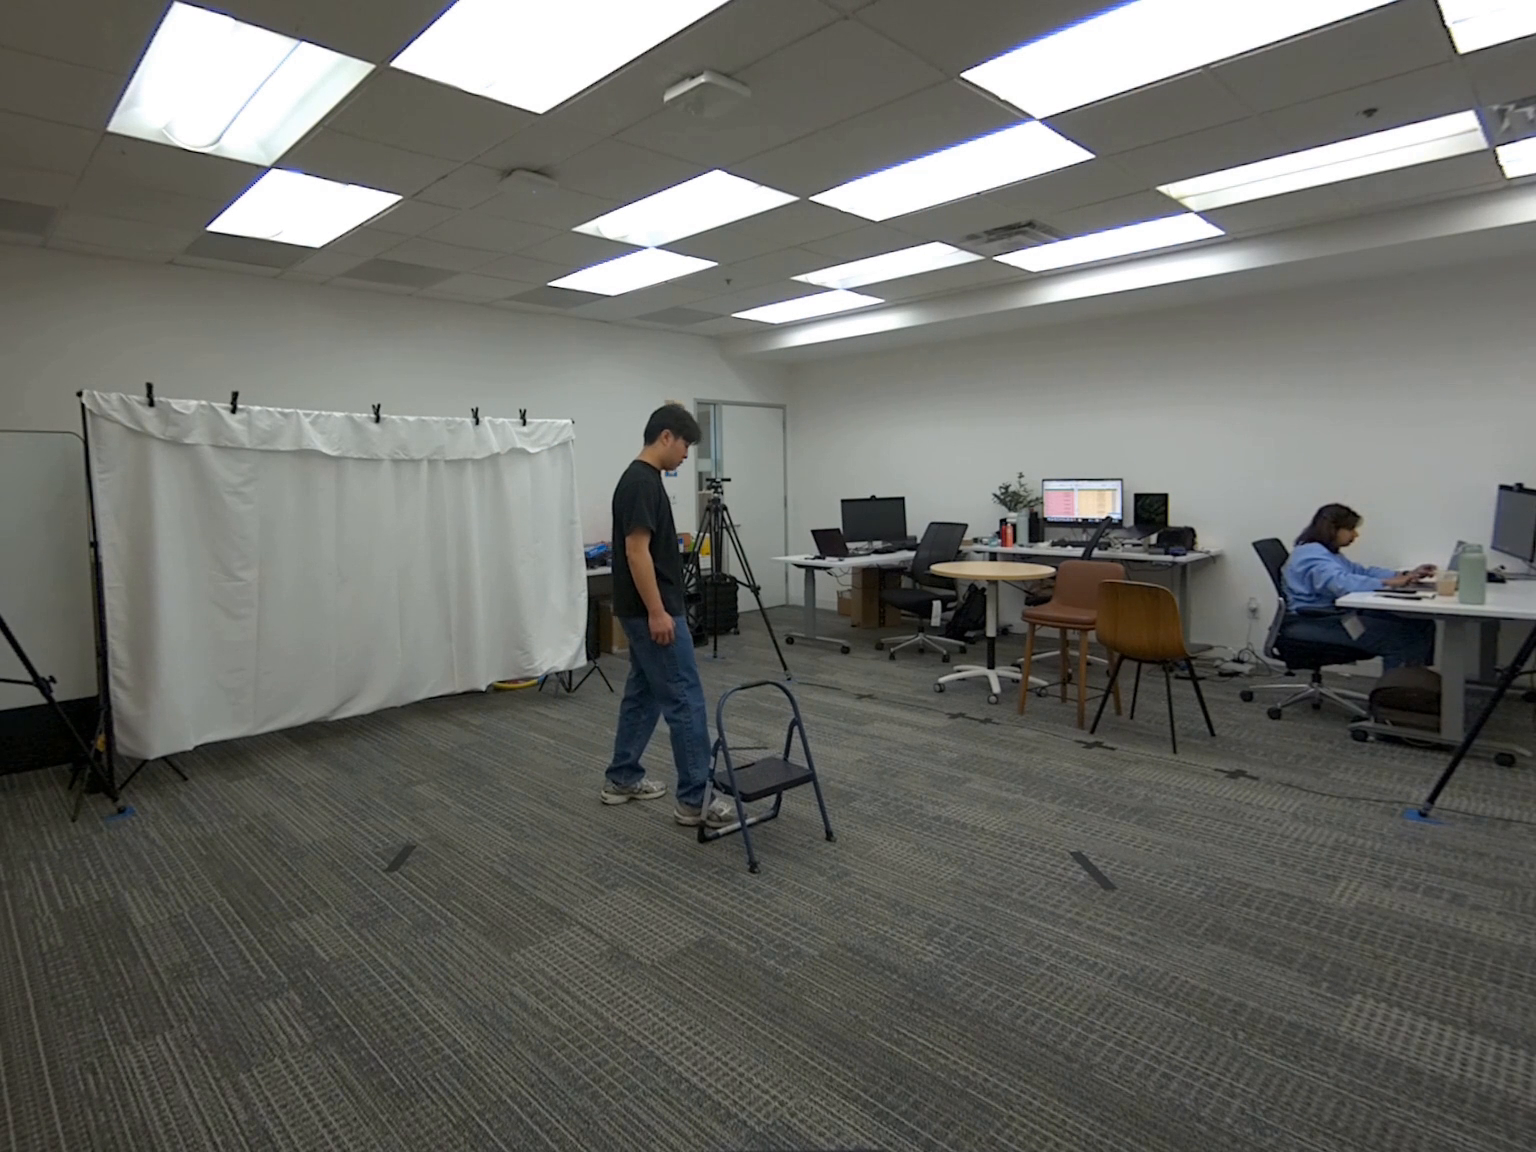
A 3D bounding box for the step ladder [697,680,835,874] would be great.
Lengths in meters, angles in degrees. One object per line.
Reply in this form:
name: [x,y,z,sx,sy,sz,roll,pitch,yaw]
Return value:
step ladder: [-0.010,0.717,3.267,0.419,0.604,0.360,-4,6,-41]
